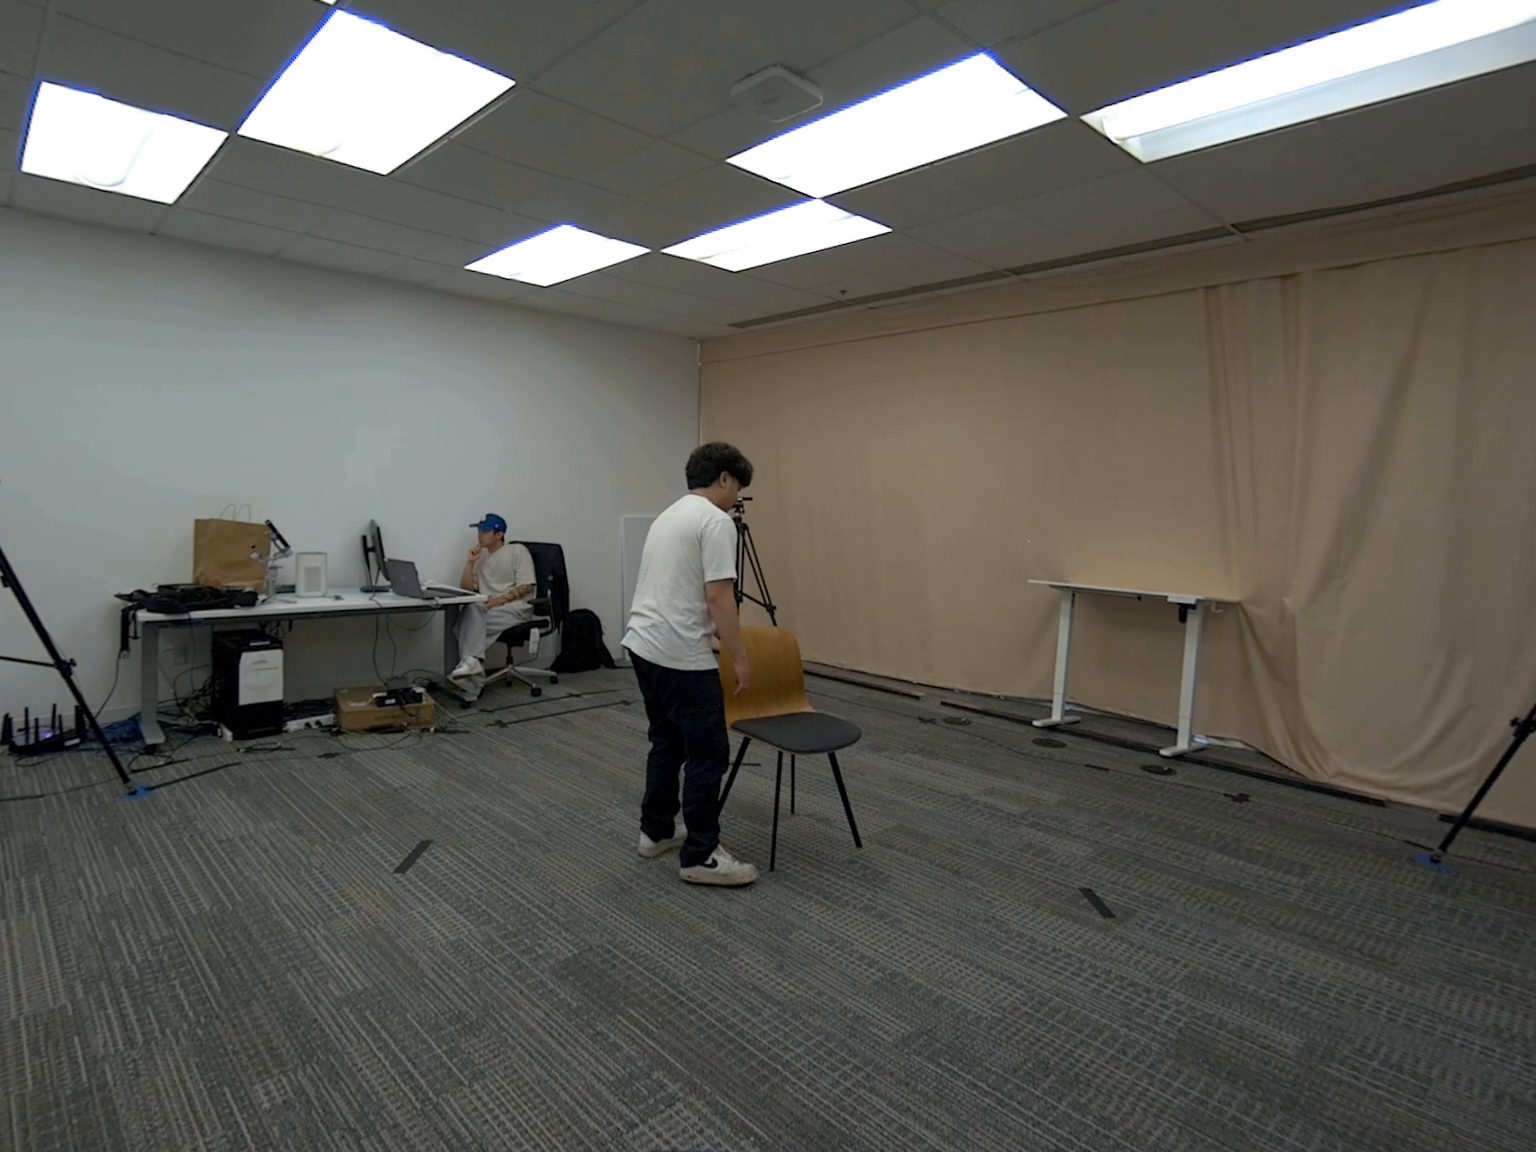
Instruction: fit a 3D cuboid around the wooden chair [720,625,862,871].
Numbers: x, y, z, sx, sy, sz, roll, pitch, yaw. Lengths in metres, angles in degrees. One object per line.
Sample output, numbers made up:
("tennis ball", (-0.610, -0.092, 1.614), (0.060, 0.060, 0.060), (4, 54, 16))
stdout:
("wooden chair", (0.077, 0.660, 3.423), (0.467, 0.878, 0.534), (0, -1, -35))
